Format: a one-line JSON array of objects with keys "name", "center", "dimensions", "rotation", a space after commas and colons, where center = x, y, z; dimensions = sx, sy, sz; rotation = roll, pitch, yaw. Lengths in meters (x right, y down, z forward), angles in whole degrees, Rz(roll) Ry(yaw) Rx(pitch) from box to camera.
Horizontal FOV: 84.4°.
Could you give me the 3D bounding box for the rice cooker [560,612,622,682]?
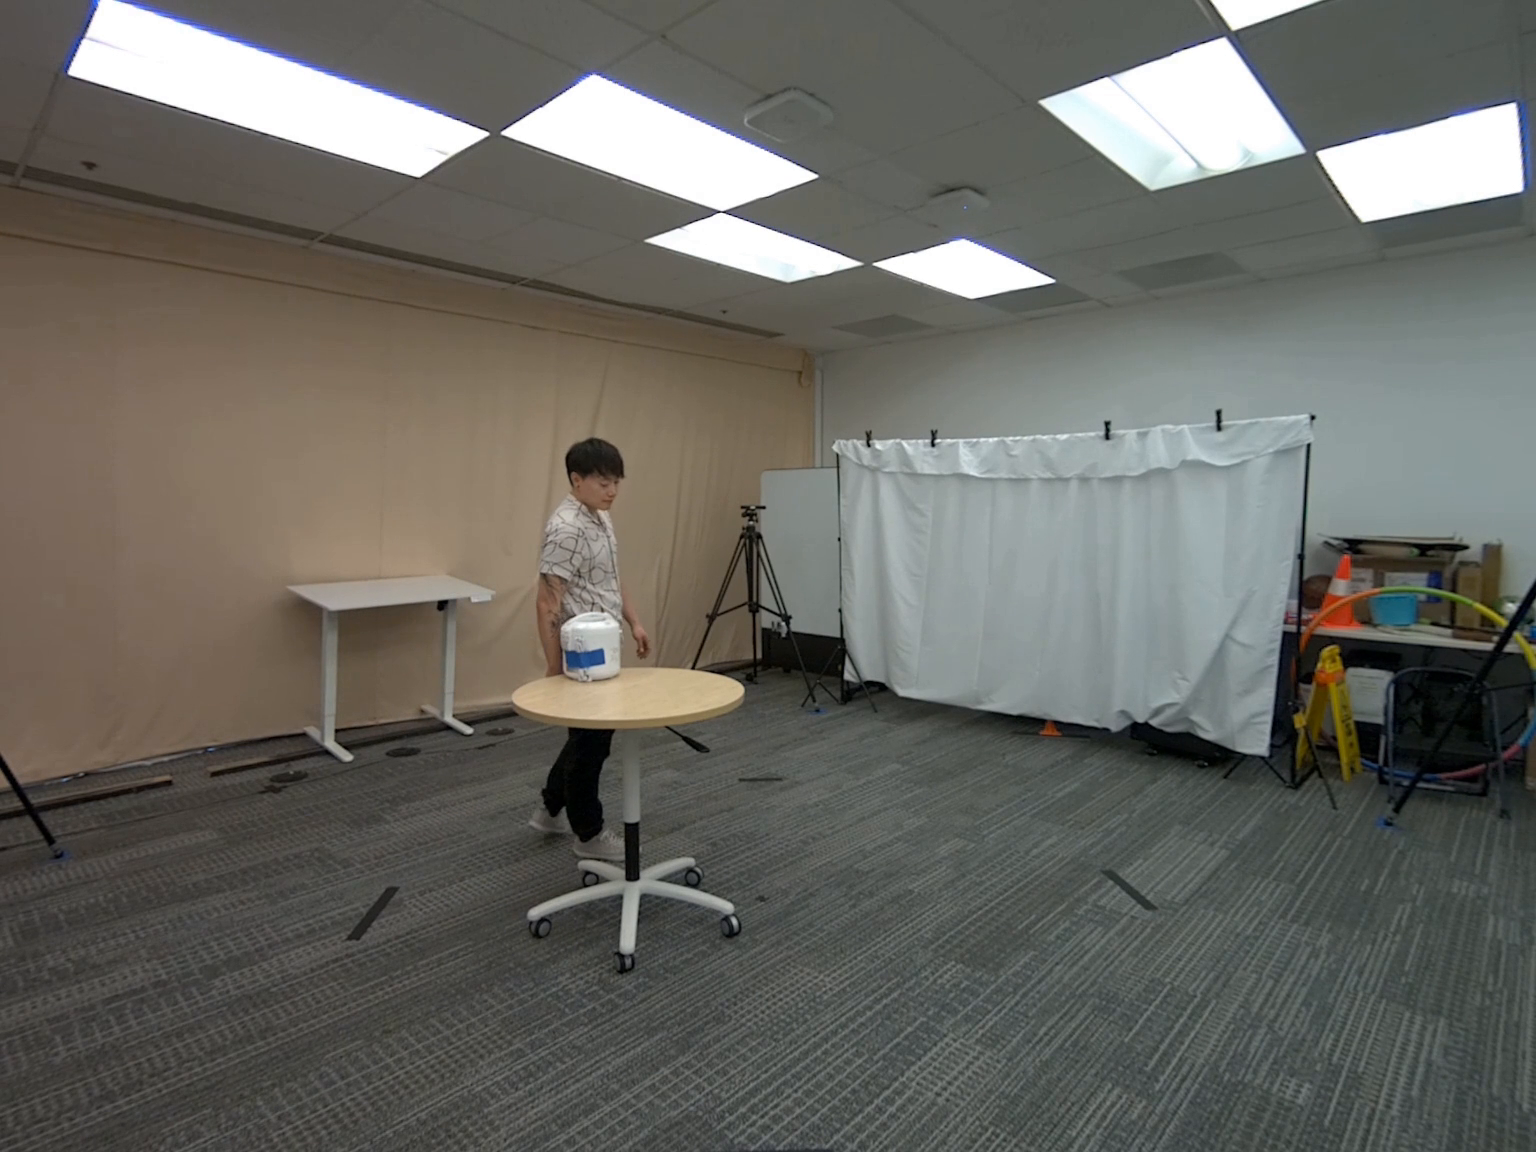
[{"name": "rice cooker", "center": [-0.640, 0.247, 3.025], "dimensions": [0.214, 0.232, 0.224], "rotation": [-2, 5, -38]}]
